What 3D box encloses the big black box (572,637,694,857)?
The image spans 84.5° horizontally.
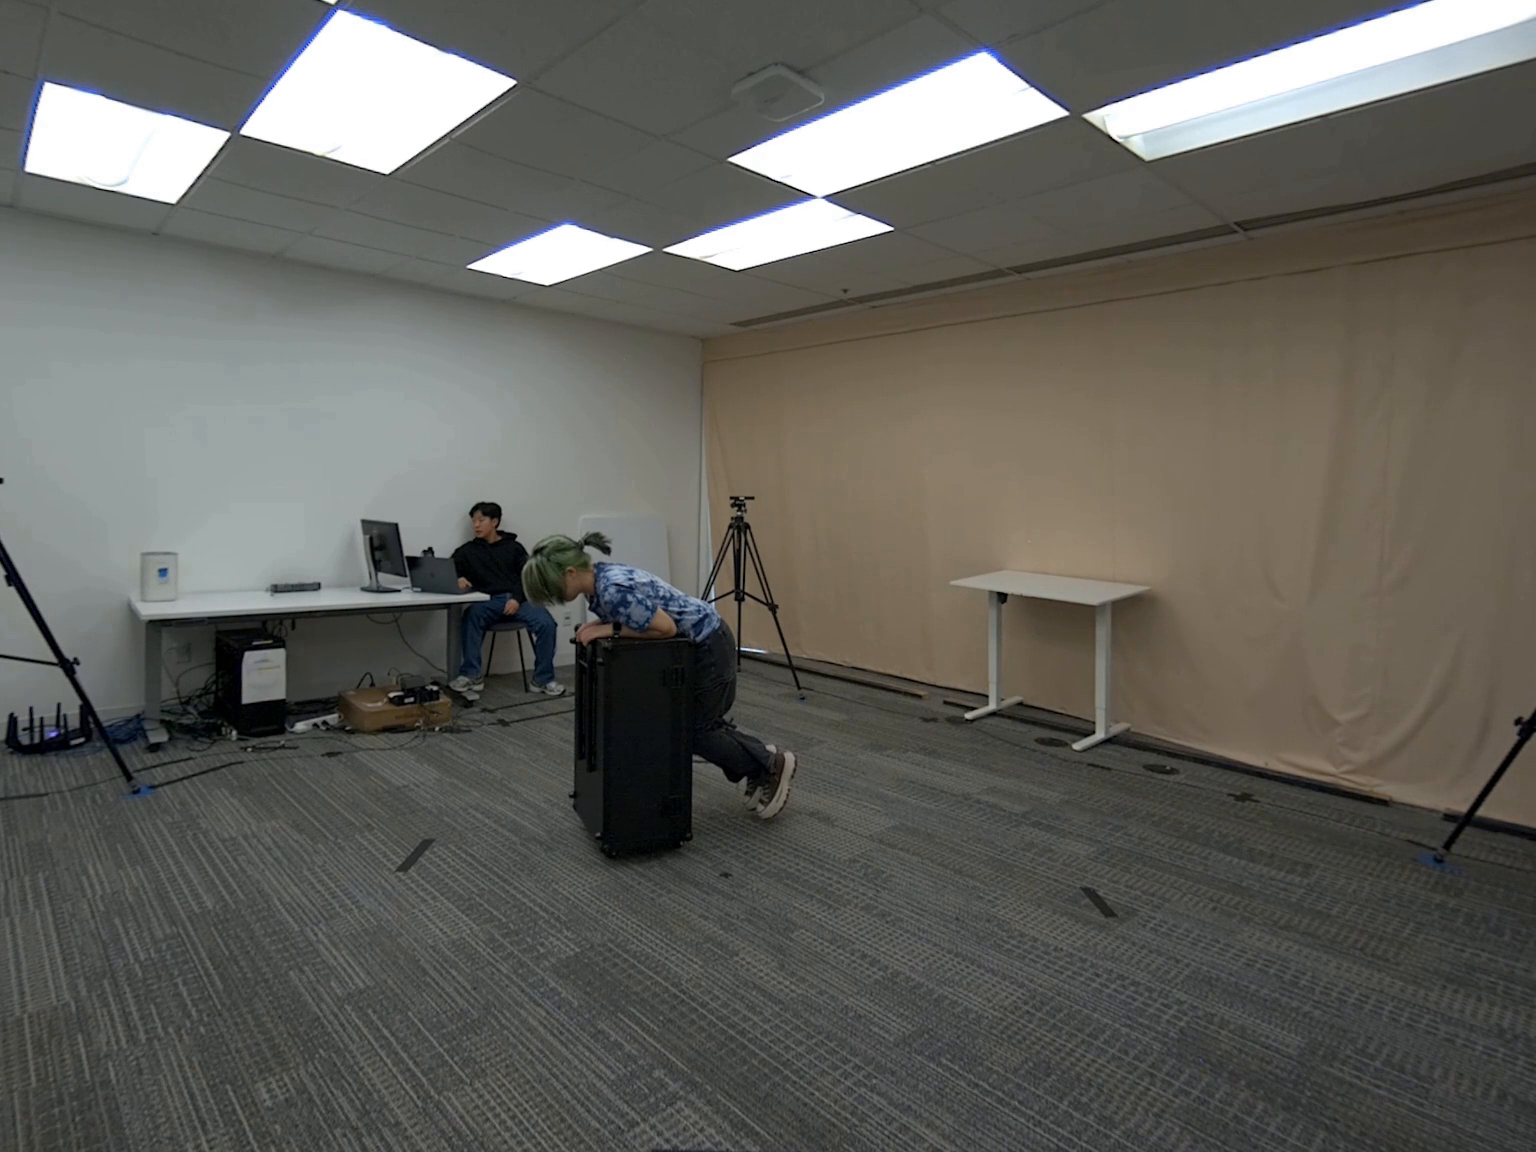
[{"bbox_3d":[-0.567,0.597,3.362,0.389,0.859,0.532,0,3,-25],"label":"big black box"}]
